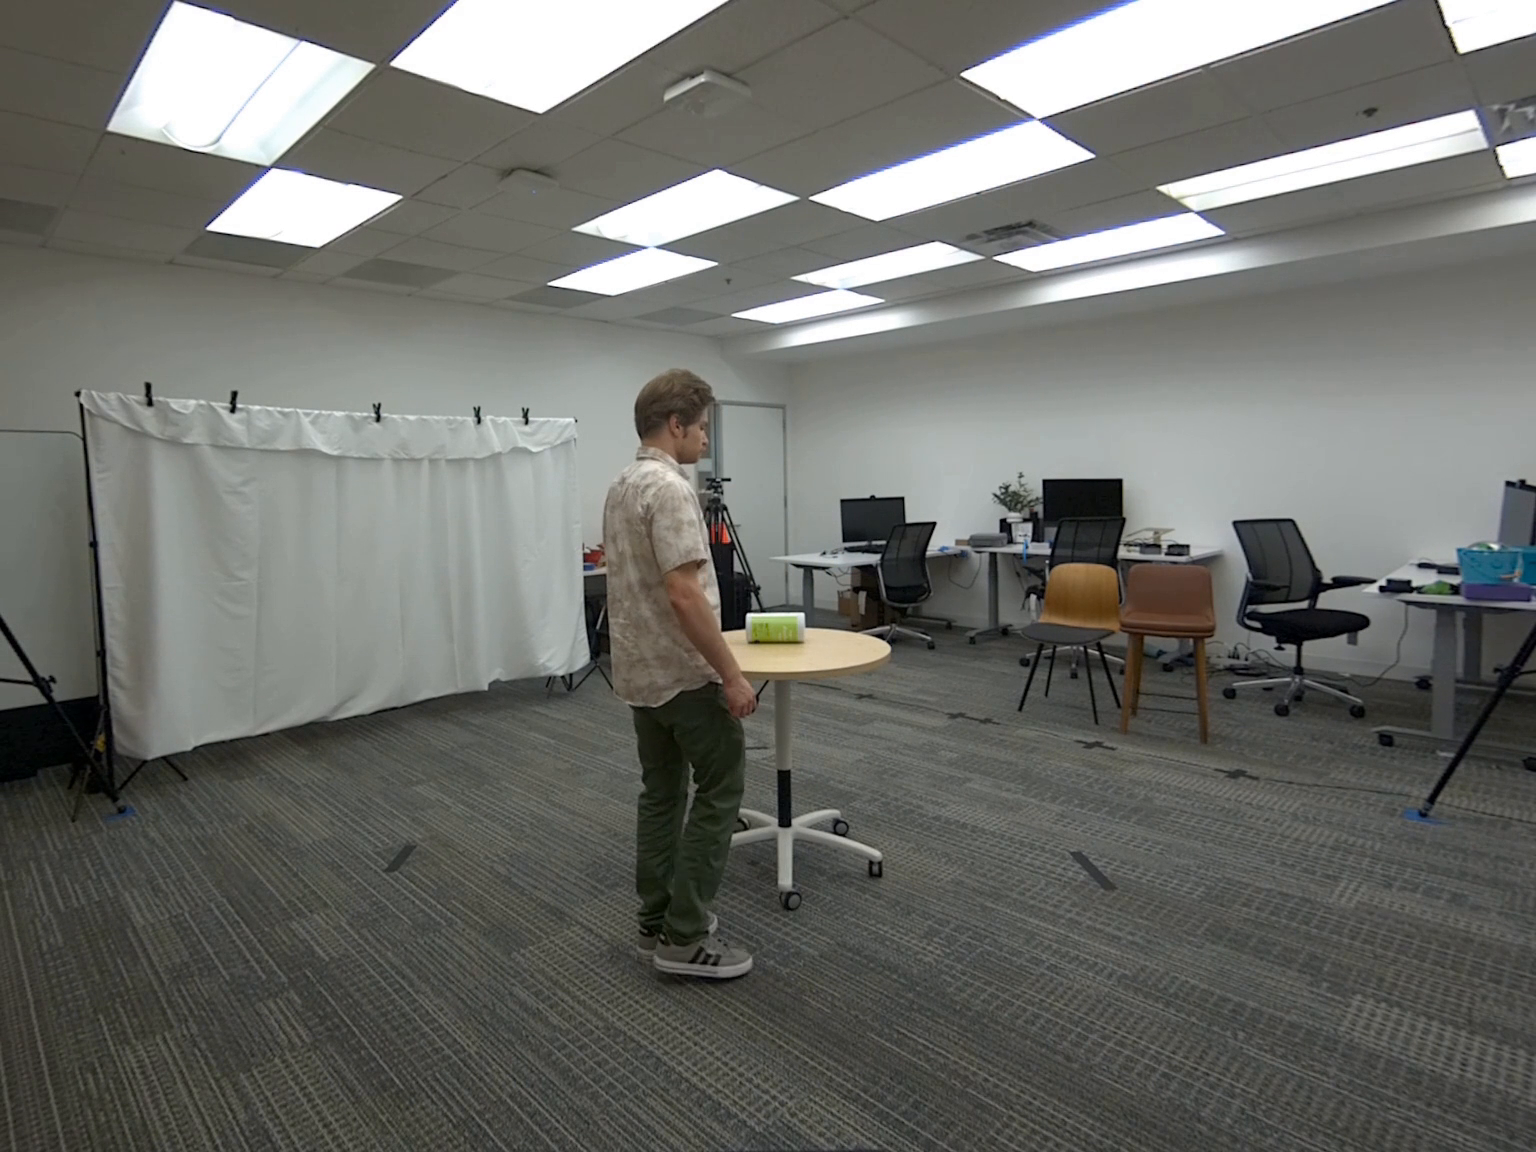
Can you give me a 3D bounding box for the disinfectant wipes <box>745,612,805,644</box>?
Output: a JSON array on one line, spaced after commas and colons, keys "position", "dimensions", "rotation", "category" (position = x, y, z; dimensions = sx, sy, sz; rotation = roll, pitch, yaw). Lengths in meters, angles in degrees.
[{"position": [0.031, 0.189, 3.141], "dimensions": [0.219, 0.117, 0.117], "rotation": [-1, 5, 5], "category": "disinfectant wipes"}]
